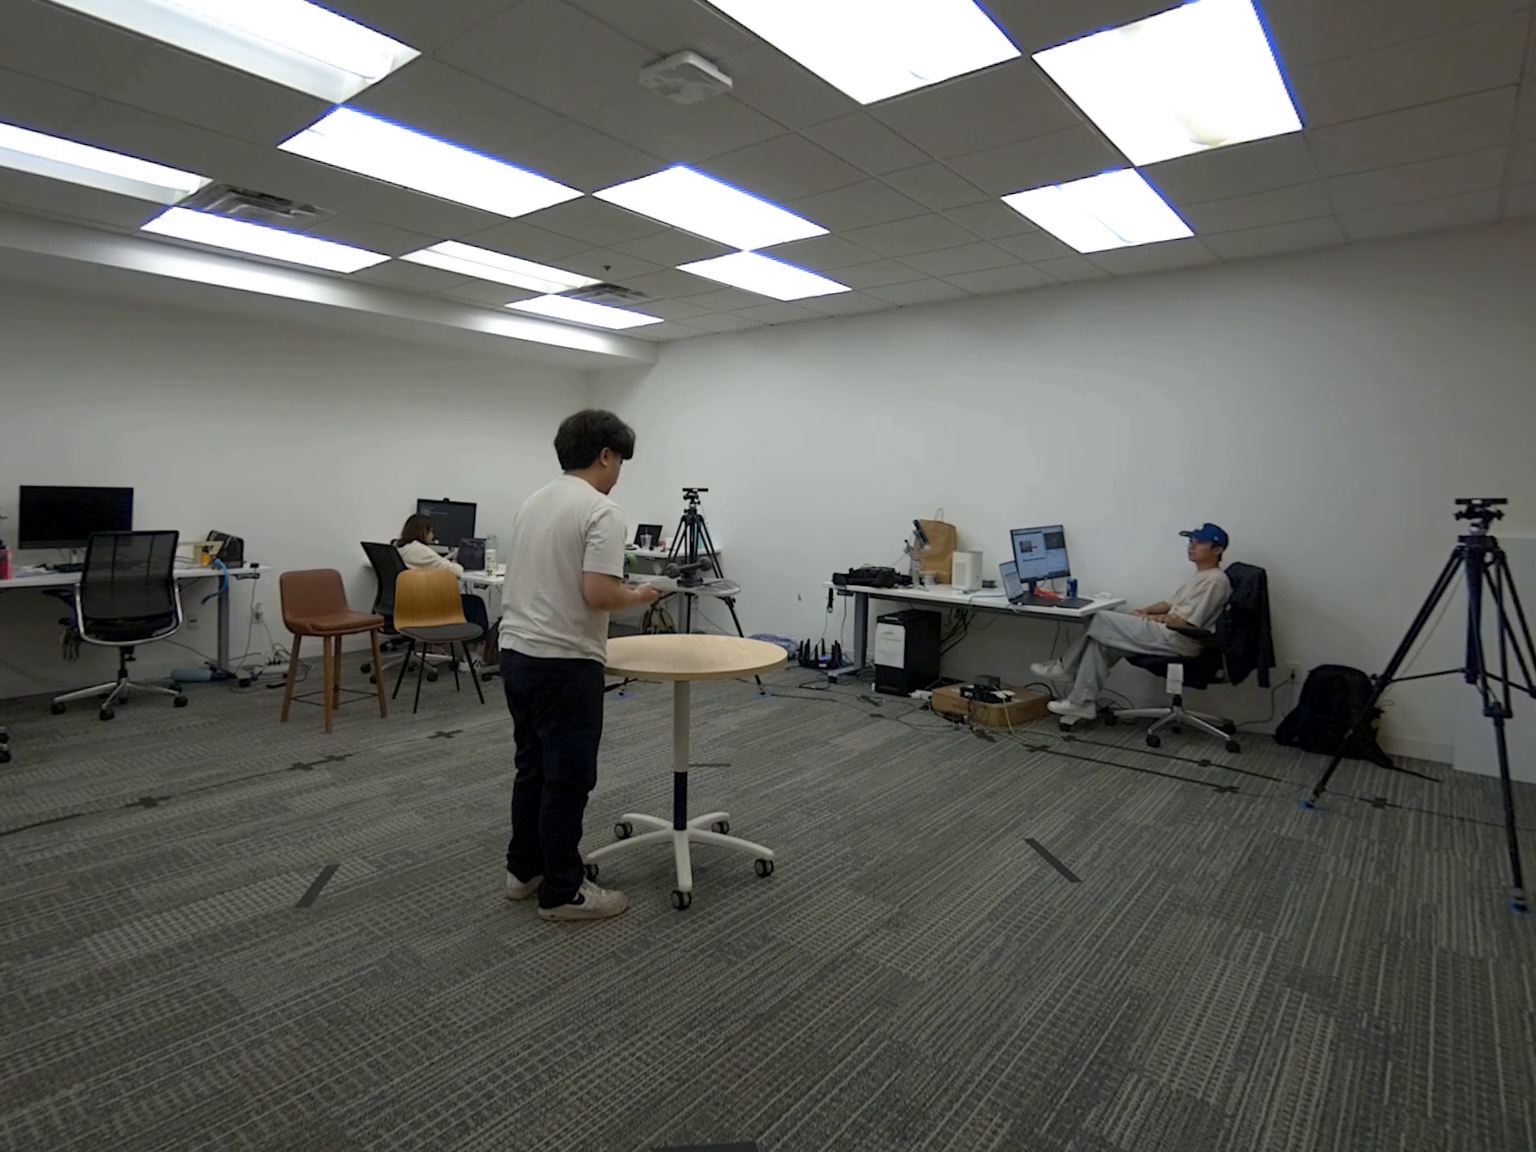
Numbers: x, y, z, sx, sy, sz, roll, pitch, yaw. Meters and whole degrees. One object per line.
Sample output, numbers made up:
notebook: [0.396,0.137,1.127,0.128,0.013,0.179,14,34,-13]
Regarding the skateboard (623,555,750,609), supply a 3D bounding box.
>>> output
skateboard: [-0.421,0.005,3.008,0.812,0.109,0.188,5,12,44]
